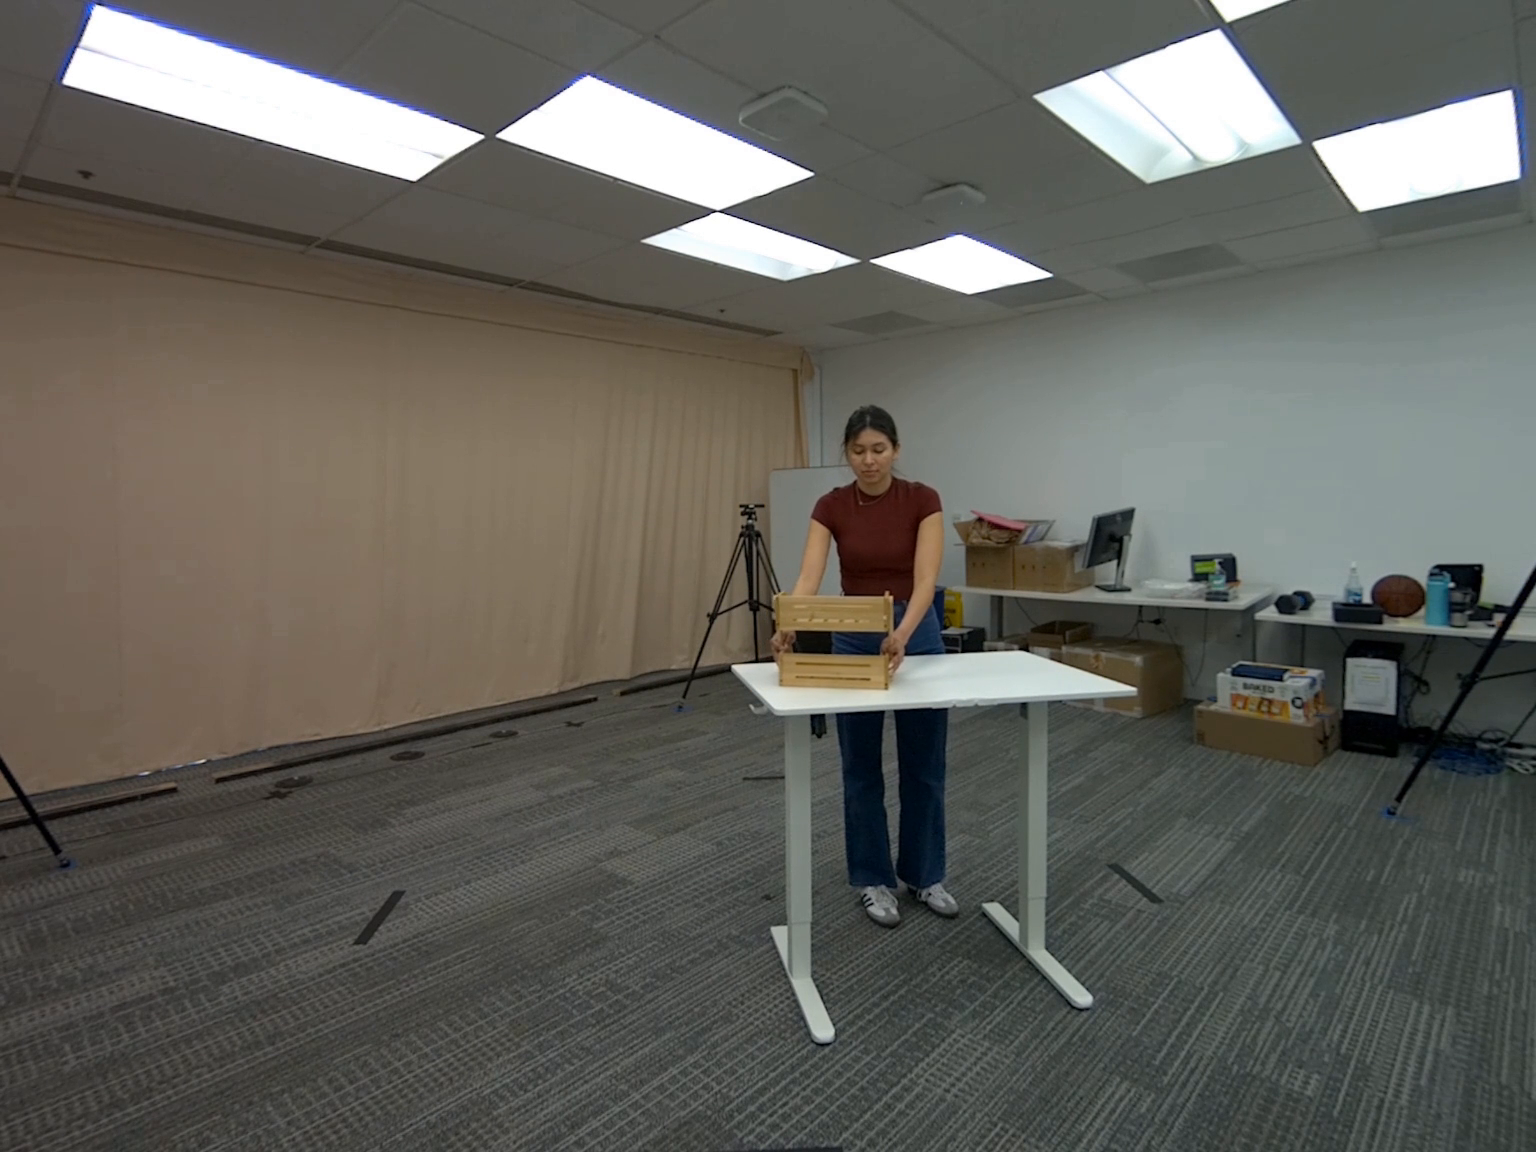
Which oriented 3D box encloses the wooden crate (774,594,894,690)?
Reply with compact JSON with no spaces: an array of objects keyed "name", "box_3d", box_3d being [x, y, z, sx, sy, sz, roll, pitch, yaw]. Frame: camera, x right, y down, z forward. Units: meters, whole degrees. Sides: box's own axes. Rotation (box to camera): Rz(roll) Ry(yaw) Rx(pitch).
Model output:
[{"name":"wooden crate","box_3d":[0.205,0.175,2.424,0.329,0.273,0.298,0,2,11]}]
